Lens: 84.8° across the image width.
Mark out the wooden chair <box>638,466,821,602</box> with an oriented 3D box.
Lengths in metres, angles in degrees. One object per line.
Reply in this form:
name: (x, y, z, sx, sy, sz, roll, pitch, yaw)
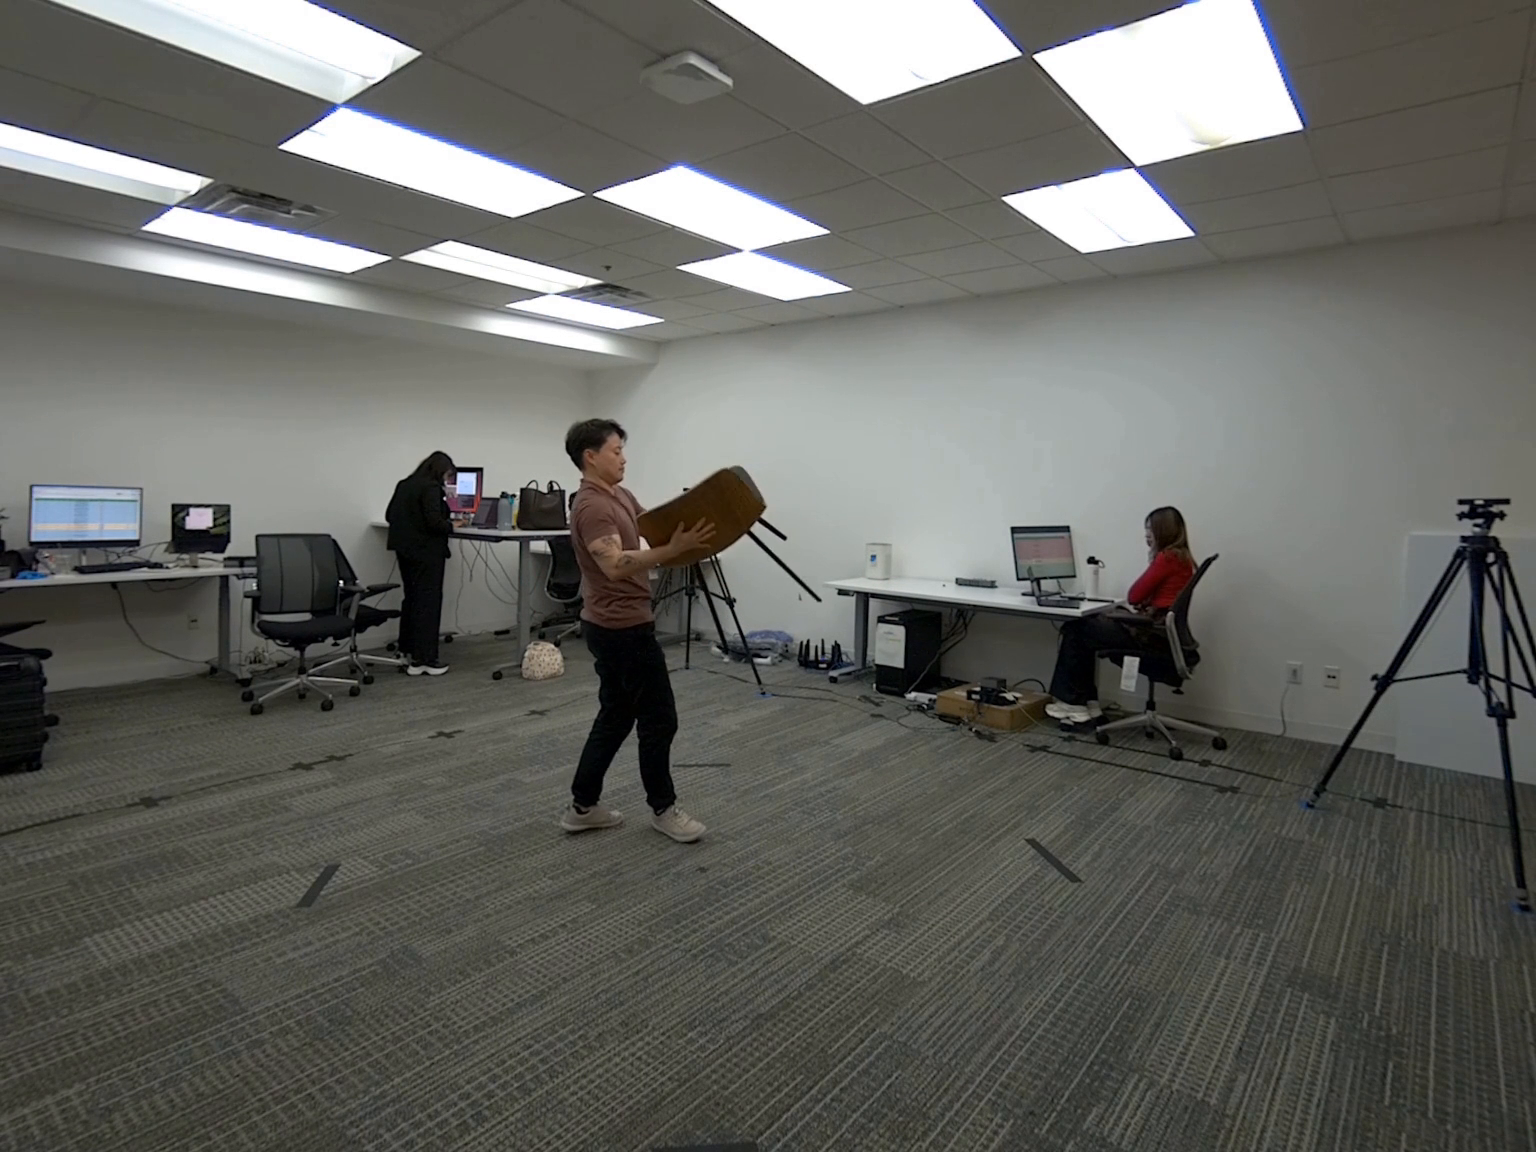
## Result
wooden chair: (-0.221, -0.202, 3.393, 0.479, 0.841, 0.544, -30, 43, 5)
